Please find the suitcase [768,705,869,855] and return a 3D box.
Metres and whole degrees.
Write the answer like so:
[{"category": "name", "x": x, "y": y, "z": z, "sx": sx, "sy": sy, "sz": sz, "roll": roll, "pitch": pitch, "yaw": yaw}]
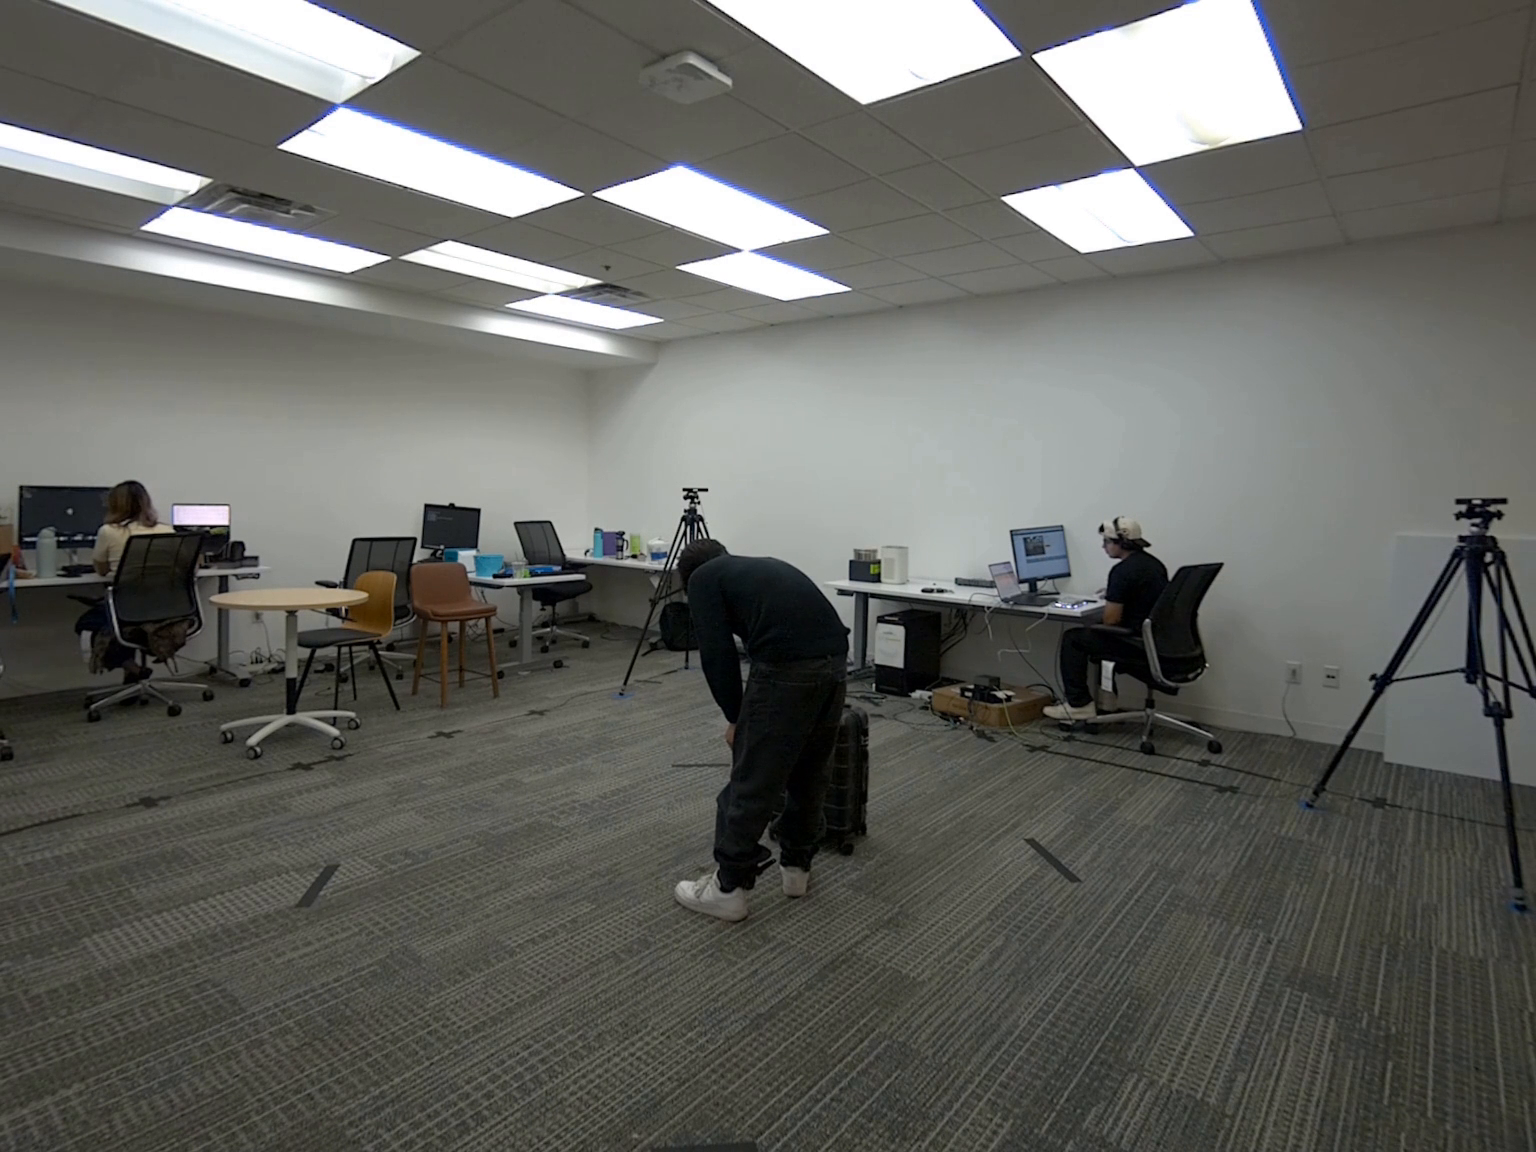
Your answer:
[{"category": "suitcase", "x": 0.206, "y": 0.770, "z": 3.415, "sx": 0.387, "sy": 0.547, "sz": 0.242, "roll": 4, "pitch": 5, "yaw": 30}]
